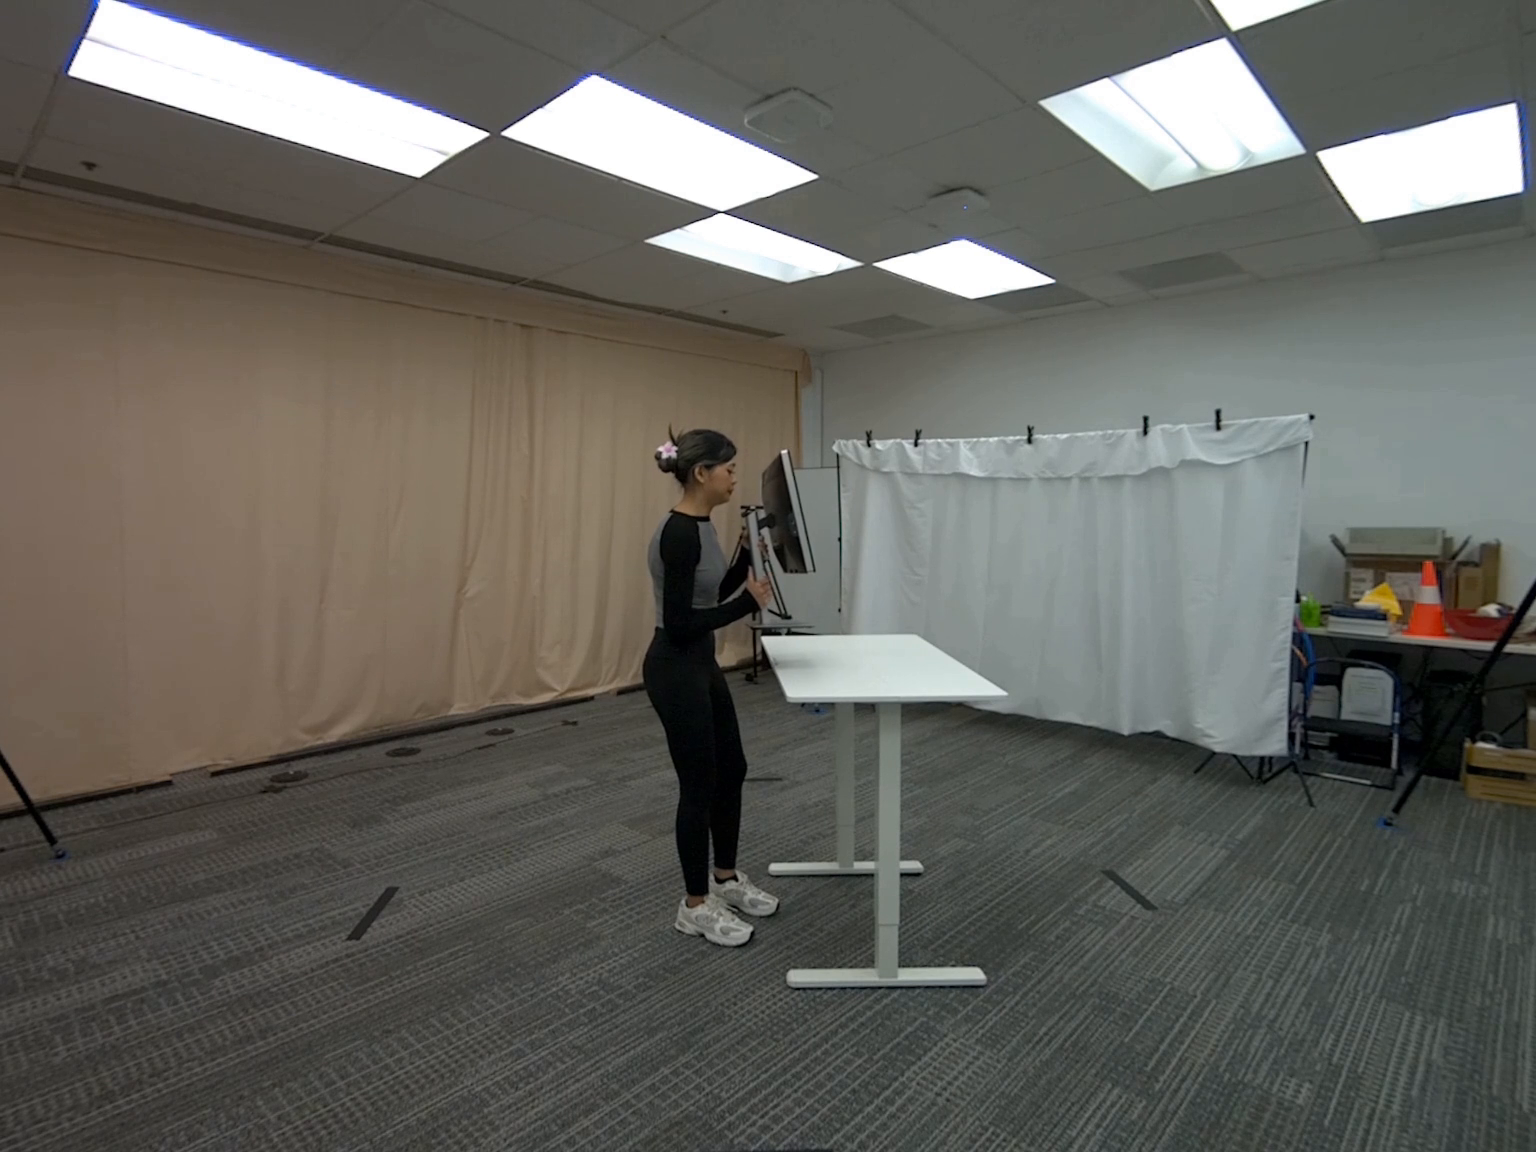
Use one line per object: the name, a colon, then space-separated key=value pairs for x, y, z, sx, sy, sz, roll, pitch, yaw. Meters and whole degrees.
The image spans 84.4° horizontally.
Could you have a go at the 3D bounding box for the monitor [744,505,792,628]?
monitor: x=0.030 y=-0.104 z=2.685 sx=0.186 sy=0.523 sz=0.542 roll=0 pitch=0 yaw=-7
